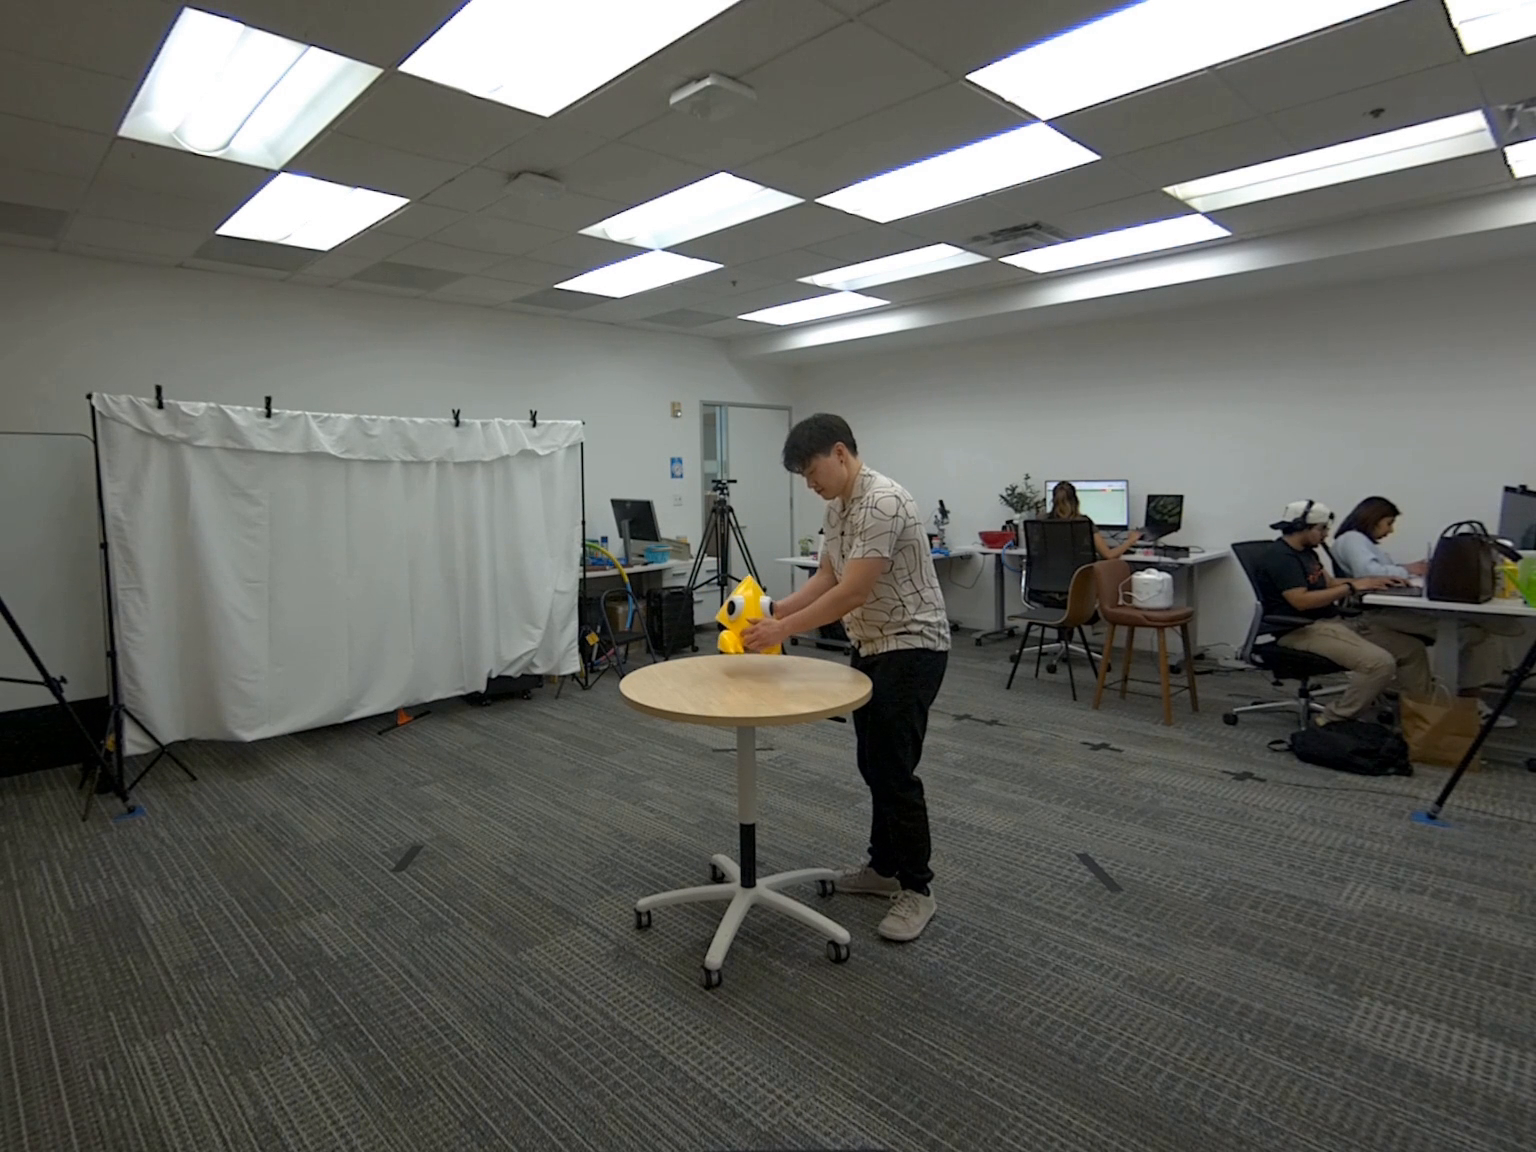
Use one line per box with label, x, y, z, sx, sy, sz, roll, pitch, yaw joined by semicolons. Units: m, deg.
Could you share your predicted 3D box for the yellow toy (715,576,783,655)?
yellow toy;-0.048;0.115;2.705;0.203;0.230;0.195;3;4;-8
